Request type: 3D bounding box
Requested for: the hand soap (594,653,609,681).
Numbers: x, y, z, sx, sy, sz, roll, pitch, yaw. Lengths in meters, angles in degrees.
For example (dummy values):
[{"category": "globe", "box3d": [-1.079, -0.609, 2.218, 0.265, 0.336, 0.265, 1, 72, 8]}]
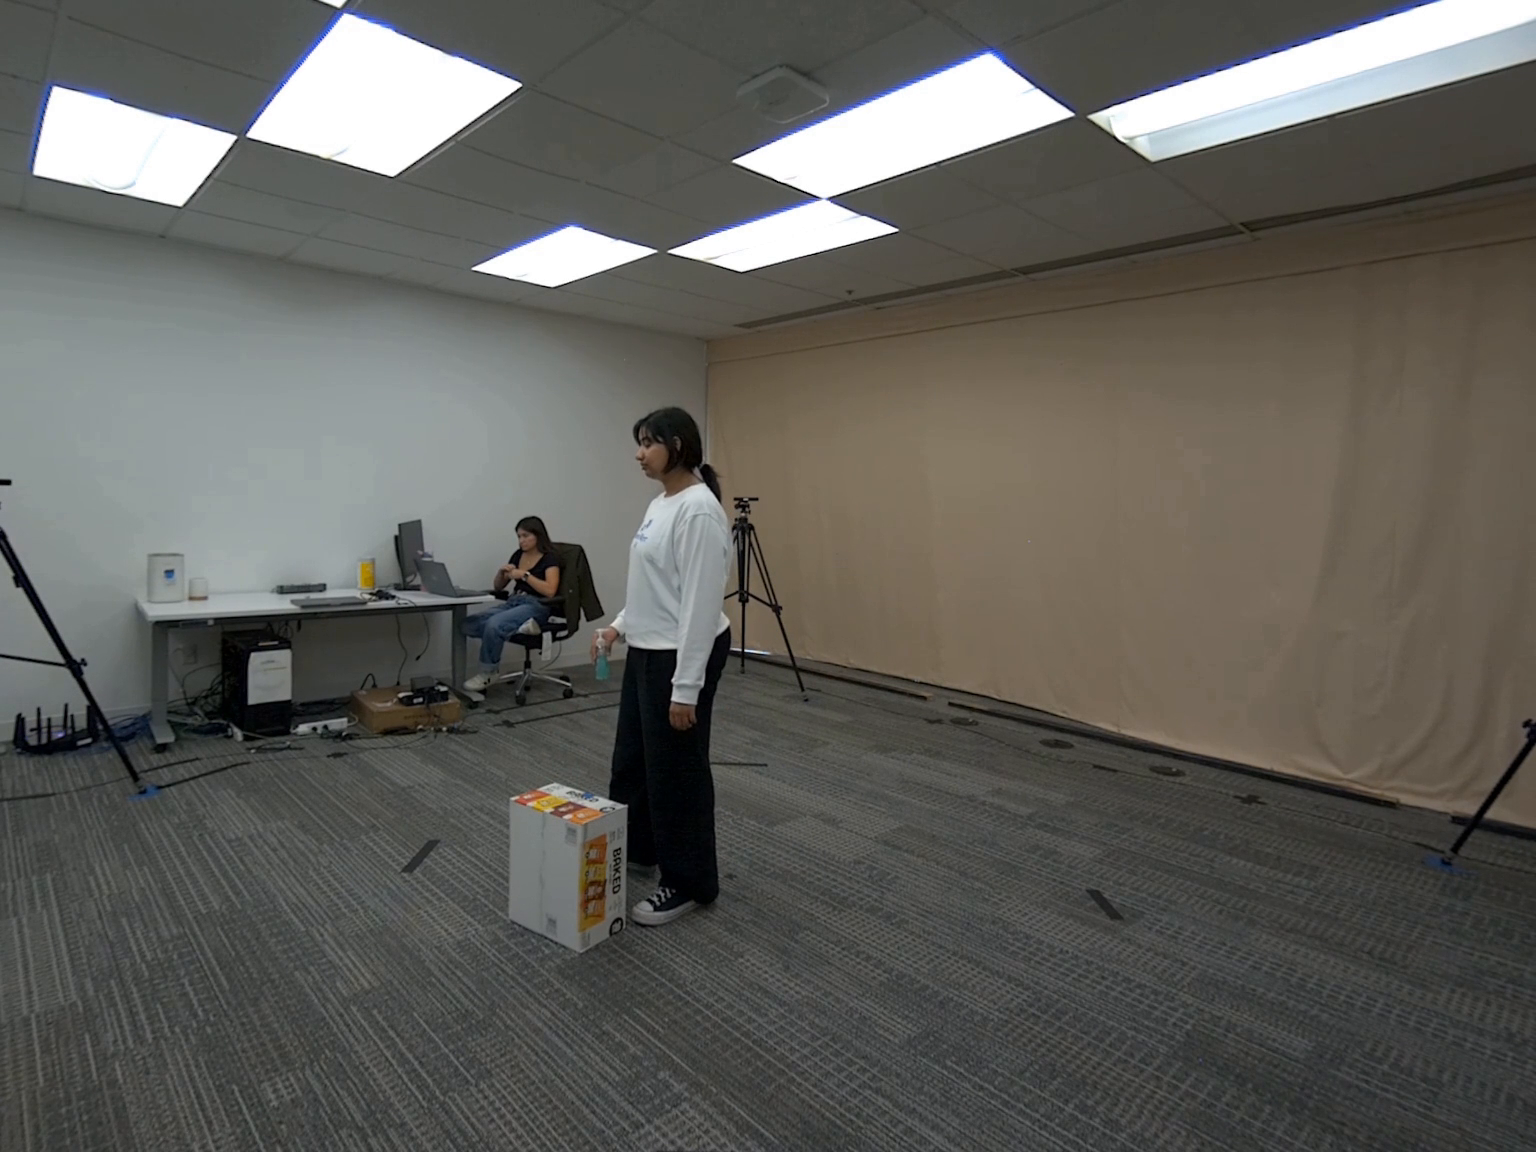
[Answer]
[{"category": "hand soap", "box3d": [-0.570, 0.260, 2.852, 0.043, 0.168, 0.085, 1, -4, -12]}]
